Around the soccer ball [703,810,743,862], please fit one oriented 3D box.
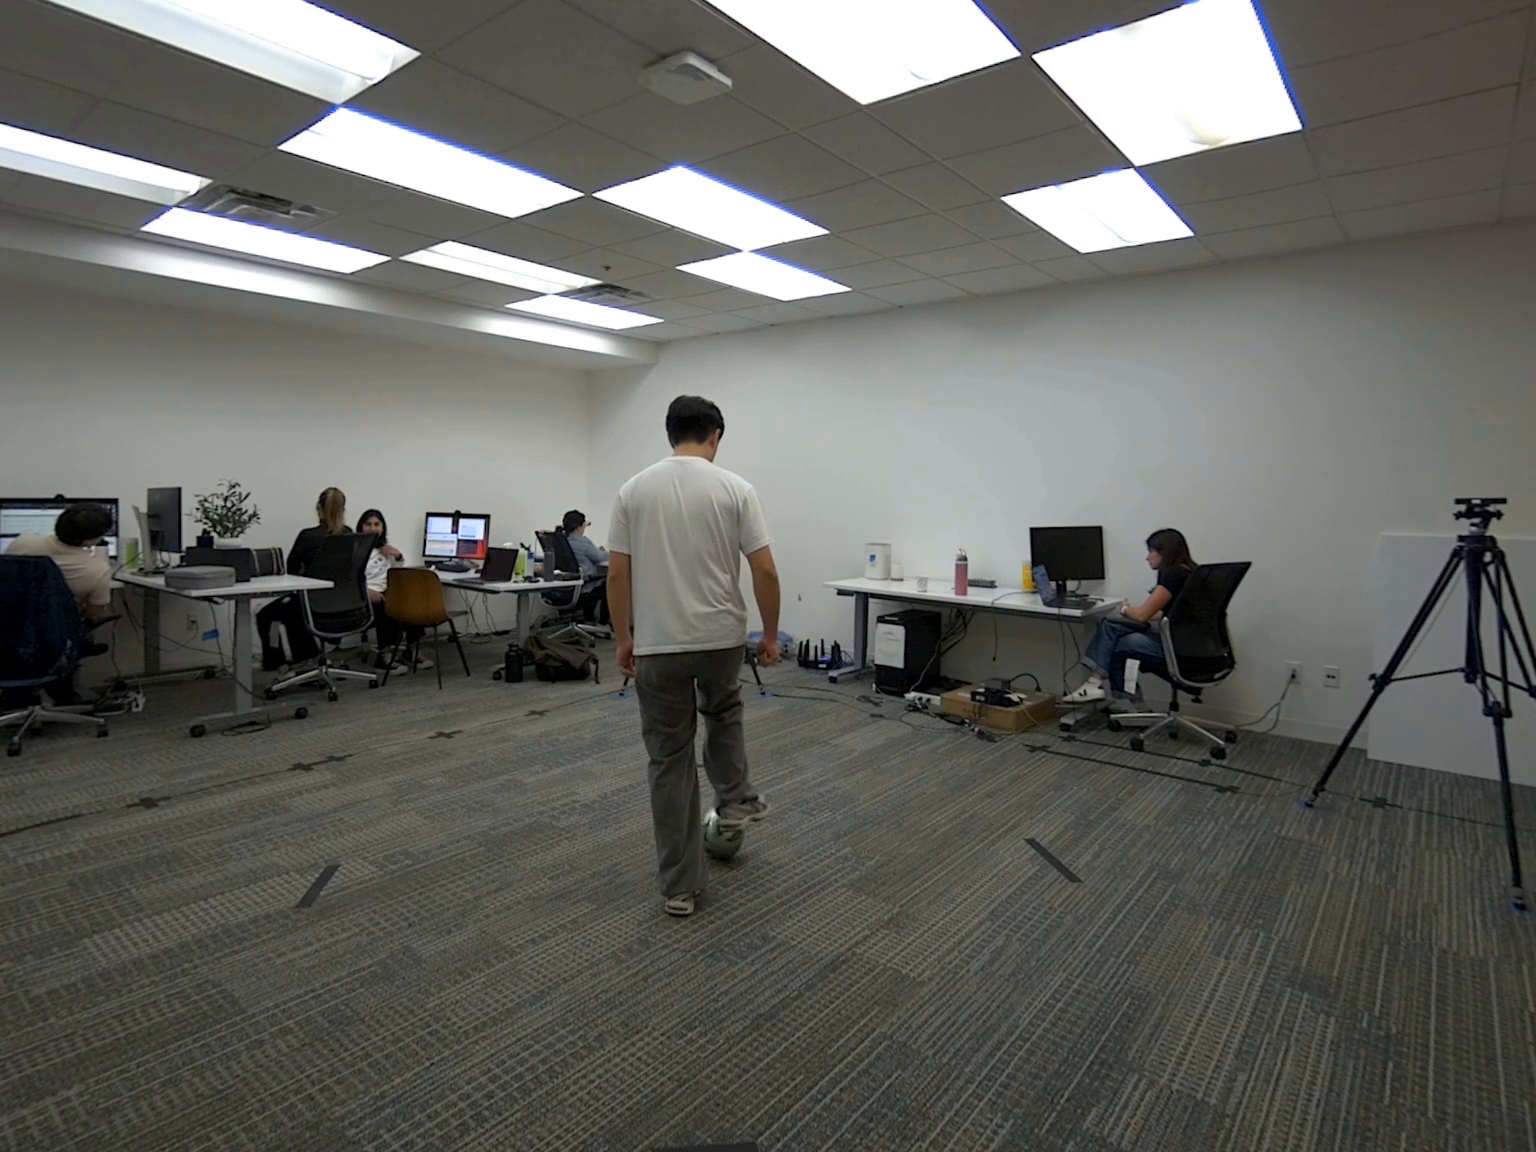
[{"bbox_3d":[-0.169,0.957,3.216,0.187,0.187,0.188,1,4,-2],"label":"soccer ball"}]
